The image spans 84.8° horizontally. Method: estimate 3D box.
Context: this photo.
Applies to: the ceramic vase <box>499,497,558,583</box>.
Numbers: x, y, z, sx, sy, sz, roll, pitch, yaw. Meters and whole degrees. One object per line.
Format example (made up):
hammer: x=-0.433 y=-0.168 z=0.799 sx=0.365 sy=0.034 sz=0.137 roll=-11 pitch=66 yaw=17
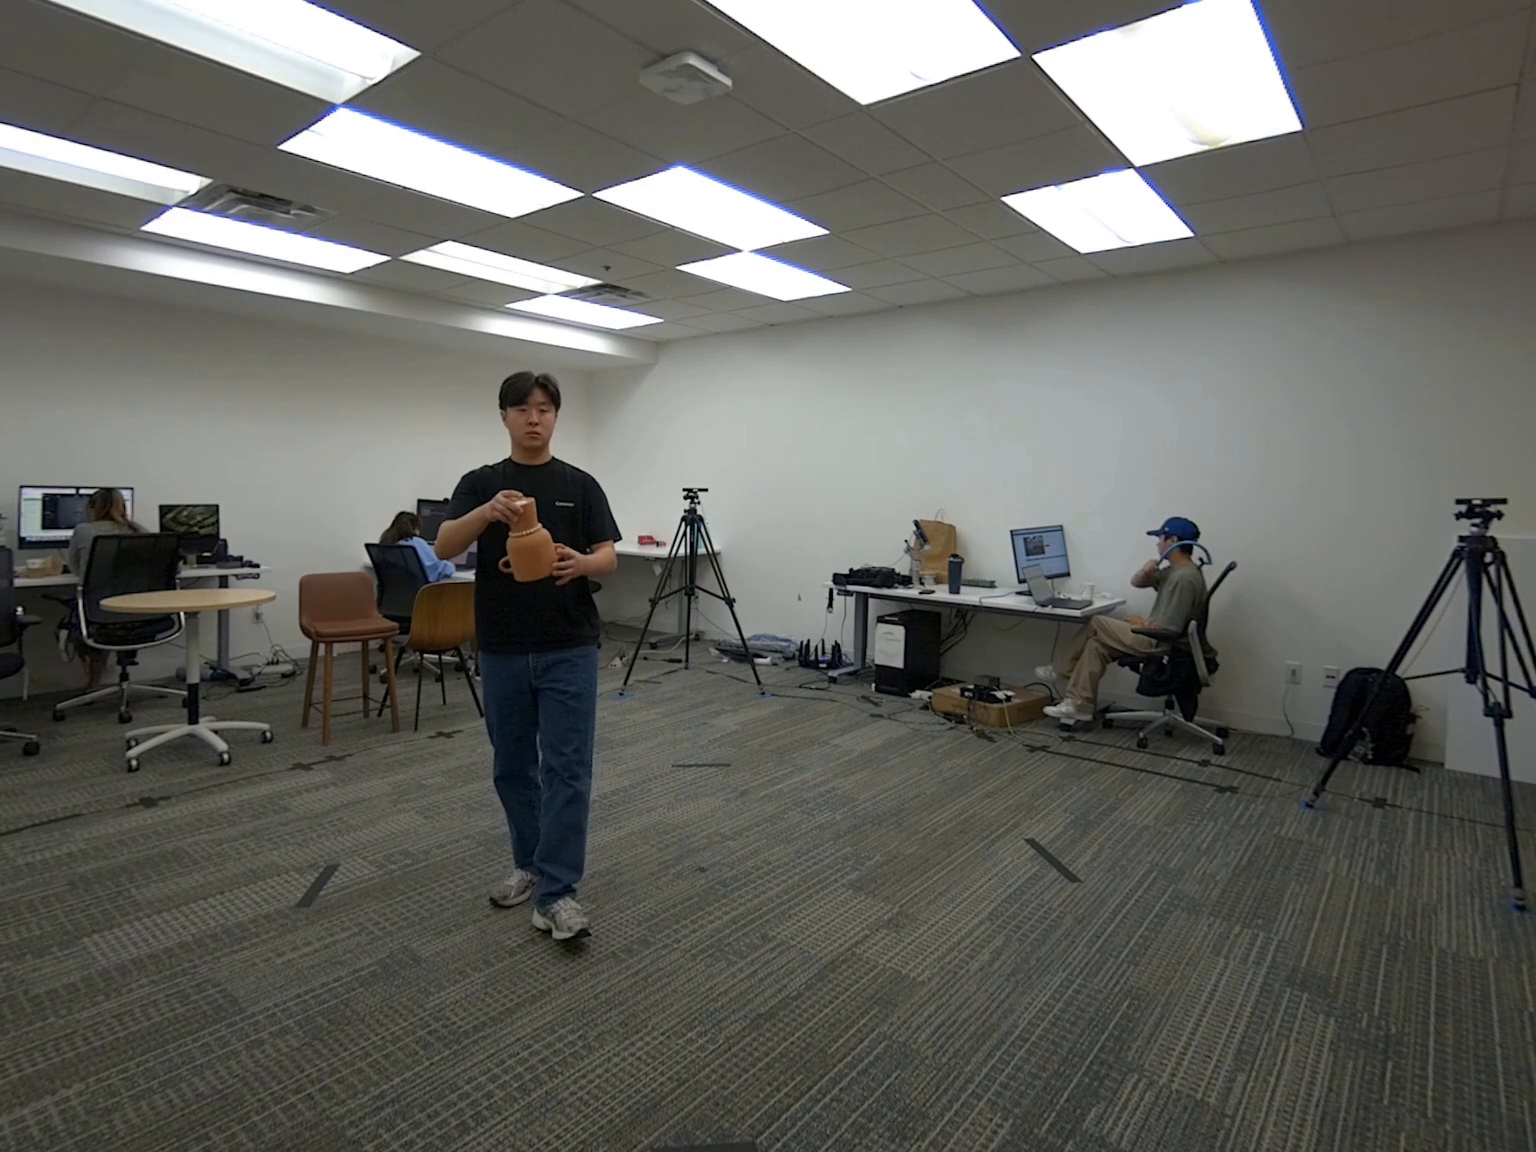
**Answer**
ceramic vase: x=-0.719 y=-0.115 z=2.484 sx=0.138 sy=0.215 sz=0.157 roll=0 pitch=22 yaw=32
